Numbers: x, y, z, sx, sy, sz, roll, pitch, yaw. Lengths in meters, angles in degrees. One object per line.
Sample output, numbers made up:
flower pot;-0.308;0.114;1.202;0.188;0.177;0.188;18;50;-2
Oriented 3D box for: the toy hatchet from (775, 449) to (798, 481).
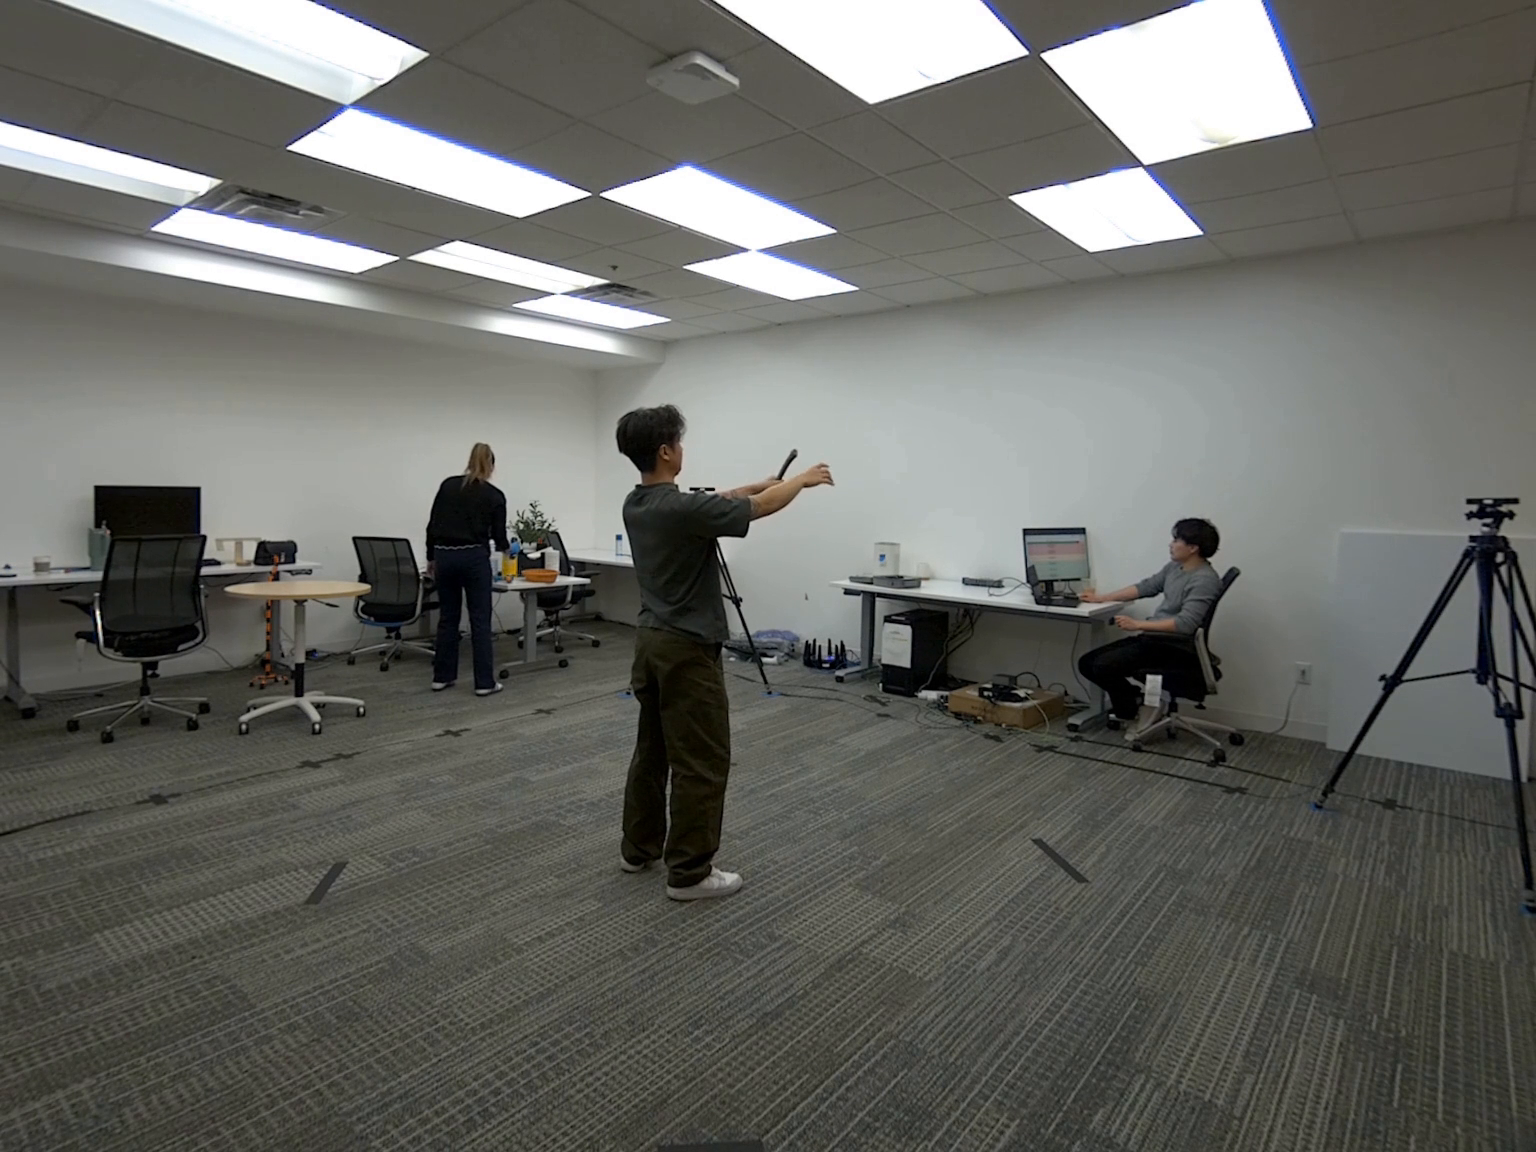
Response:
toy hatchet;0.042;-0.360;3.278;0.029;0.268;0.136;18;31;-24
